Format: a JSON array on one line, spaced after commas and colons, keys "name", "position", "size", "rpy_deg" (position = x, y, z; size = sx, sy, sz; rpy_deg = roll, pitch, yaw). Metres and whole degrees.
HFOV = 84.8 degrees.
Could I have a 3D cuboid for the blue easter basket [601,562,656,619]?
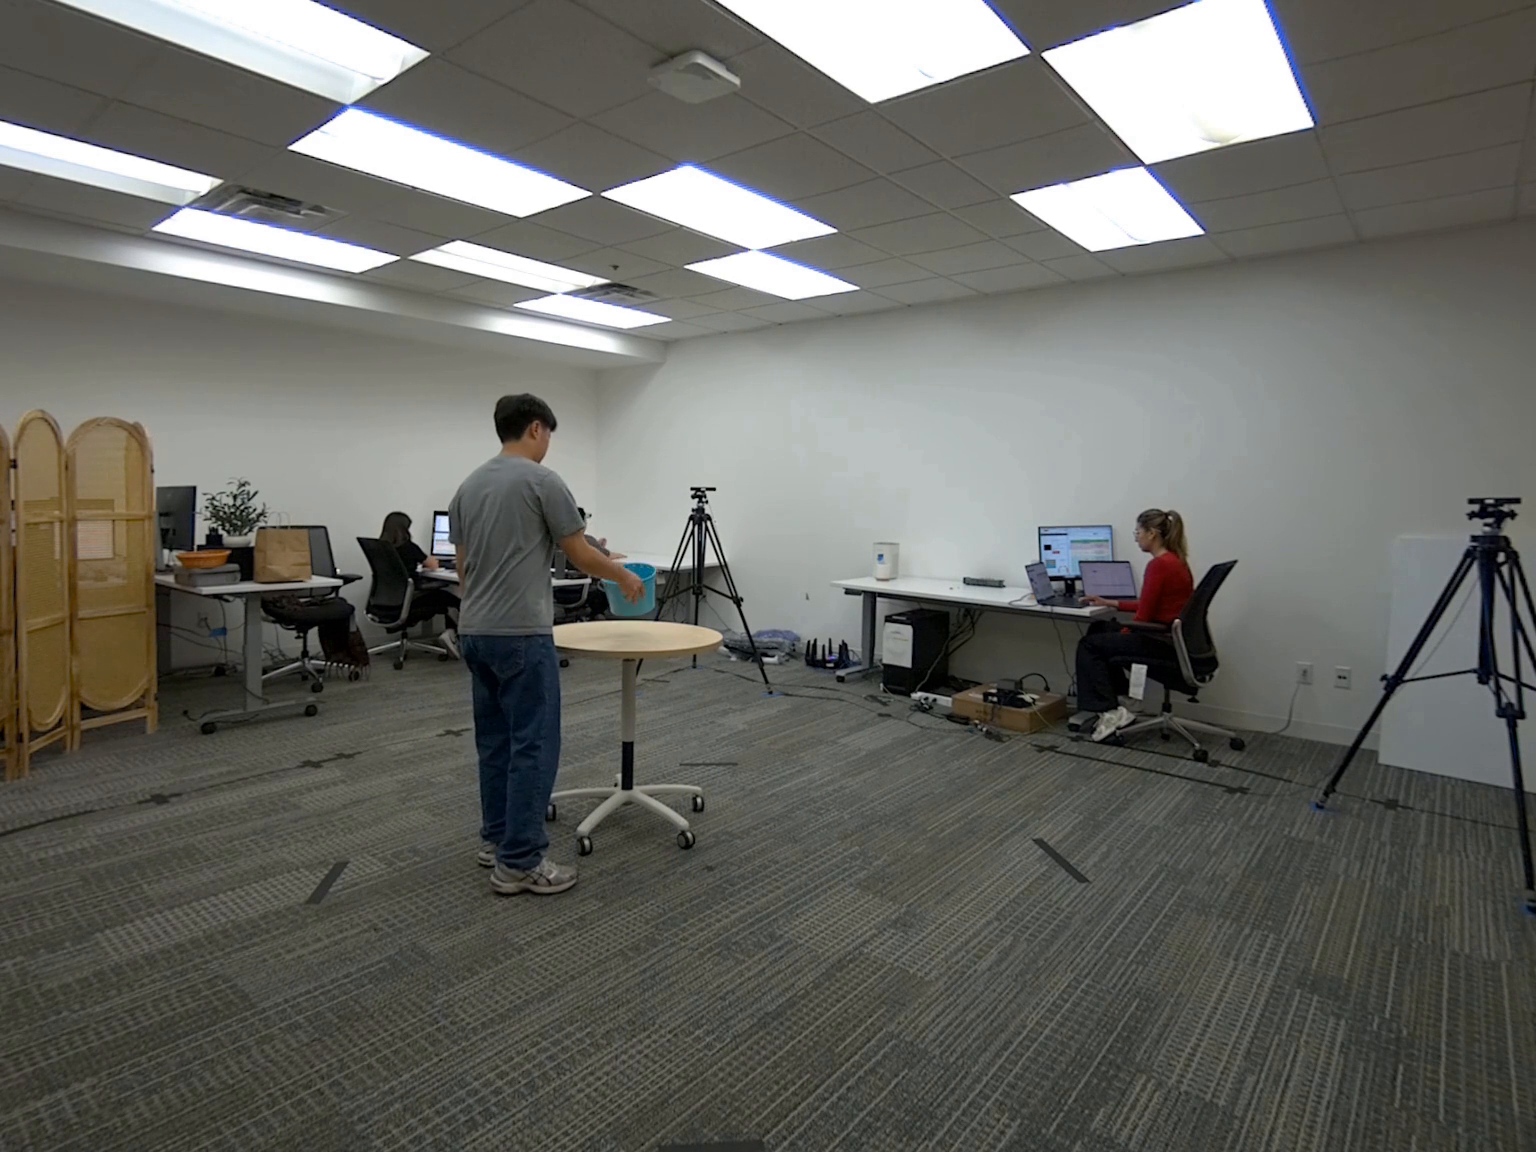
[{"name": "blue easter basket", "position": [-0.573, 0.069, 3.447], "size": [0.244, 0.153, 0.248], "rpy_deg": [-7, 18, 0]}]
